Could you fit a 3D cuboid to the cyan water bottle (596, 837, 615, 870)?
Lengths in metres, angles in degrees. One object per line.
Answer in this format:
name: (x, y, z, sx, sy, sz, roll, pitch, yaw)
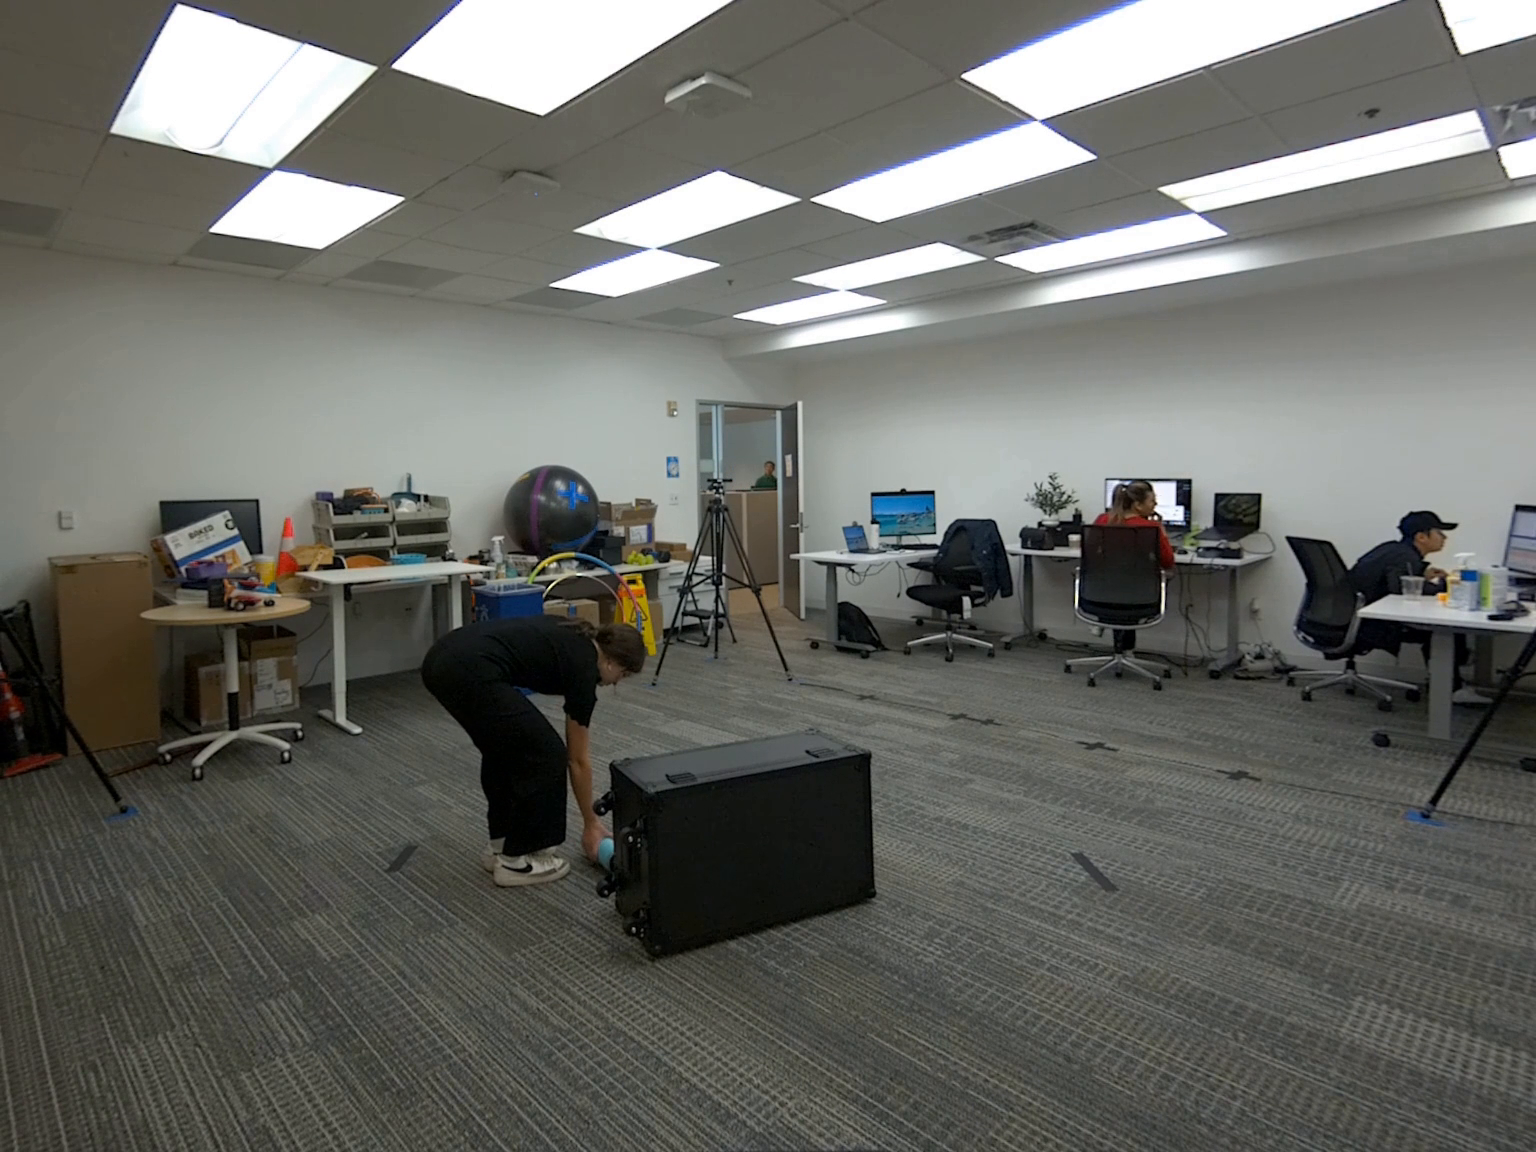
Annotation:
cyan water bottle: (-0.603, 0.973, 3.133, 0.090, 0.092, 0.291, -4, 5, -30)
